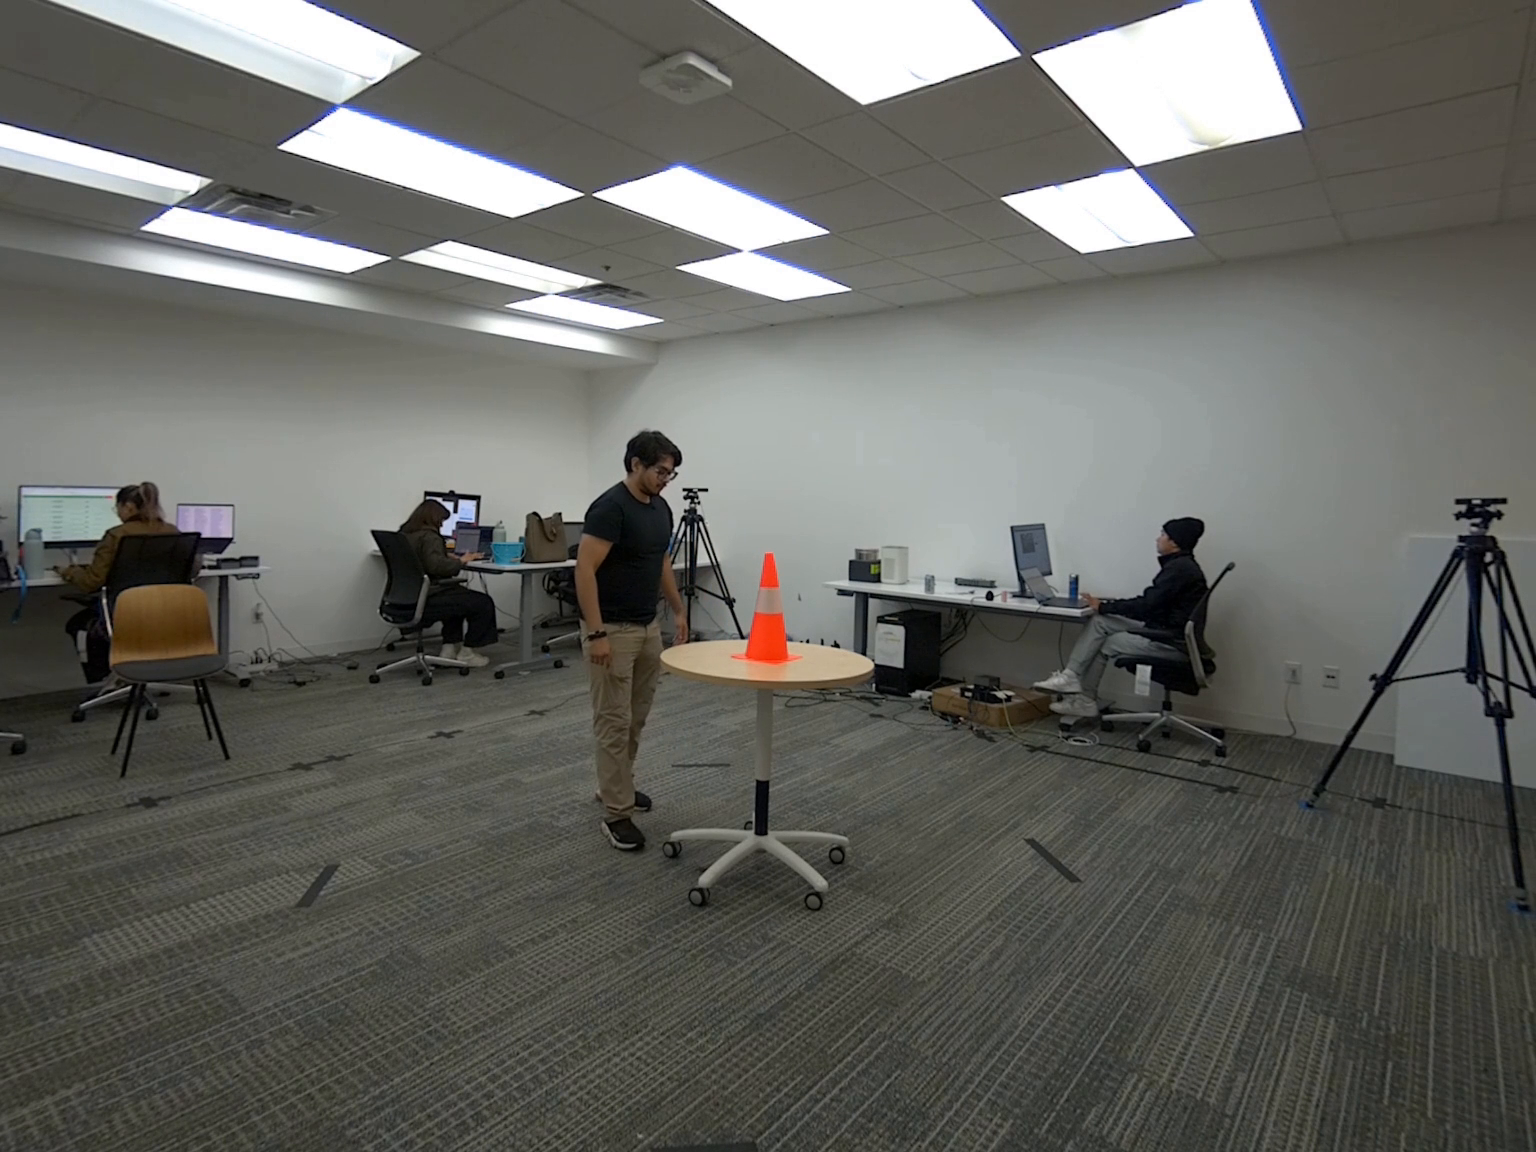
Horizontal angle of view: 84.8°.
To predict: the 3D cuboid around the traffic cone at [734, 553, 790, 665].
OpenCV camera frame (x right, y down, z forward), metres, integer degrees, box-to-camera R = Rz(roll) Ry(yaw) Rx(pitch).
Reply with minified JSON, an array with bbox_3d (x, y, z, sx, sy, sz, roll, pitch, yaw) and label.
[{"bbox_3d":[-0.002,0.107,3.073,0.211,0.382,0.198,5,5,31],"label":"traffic cone"}]
